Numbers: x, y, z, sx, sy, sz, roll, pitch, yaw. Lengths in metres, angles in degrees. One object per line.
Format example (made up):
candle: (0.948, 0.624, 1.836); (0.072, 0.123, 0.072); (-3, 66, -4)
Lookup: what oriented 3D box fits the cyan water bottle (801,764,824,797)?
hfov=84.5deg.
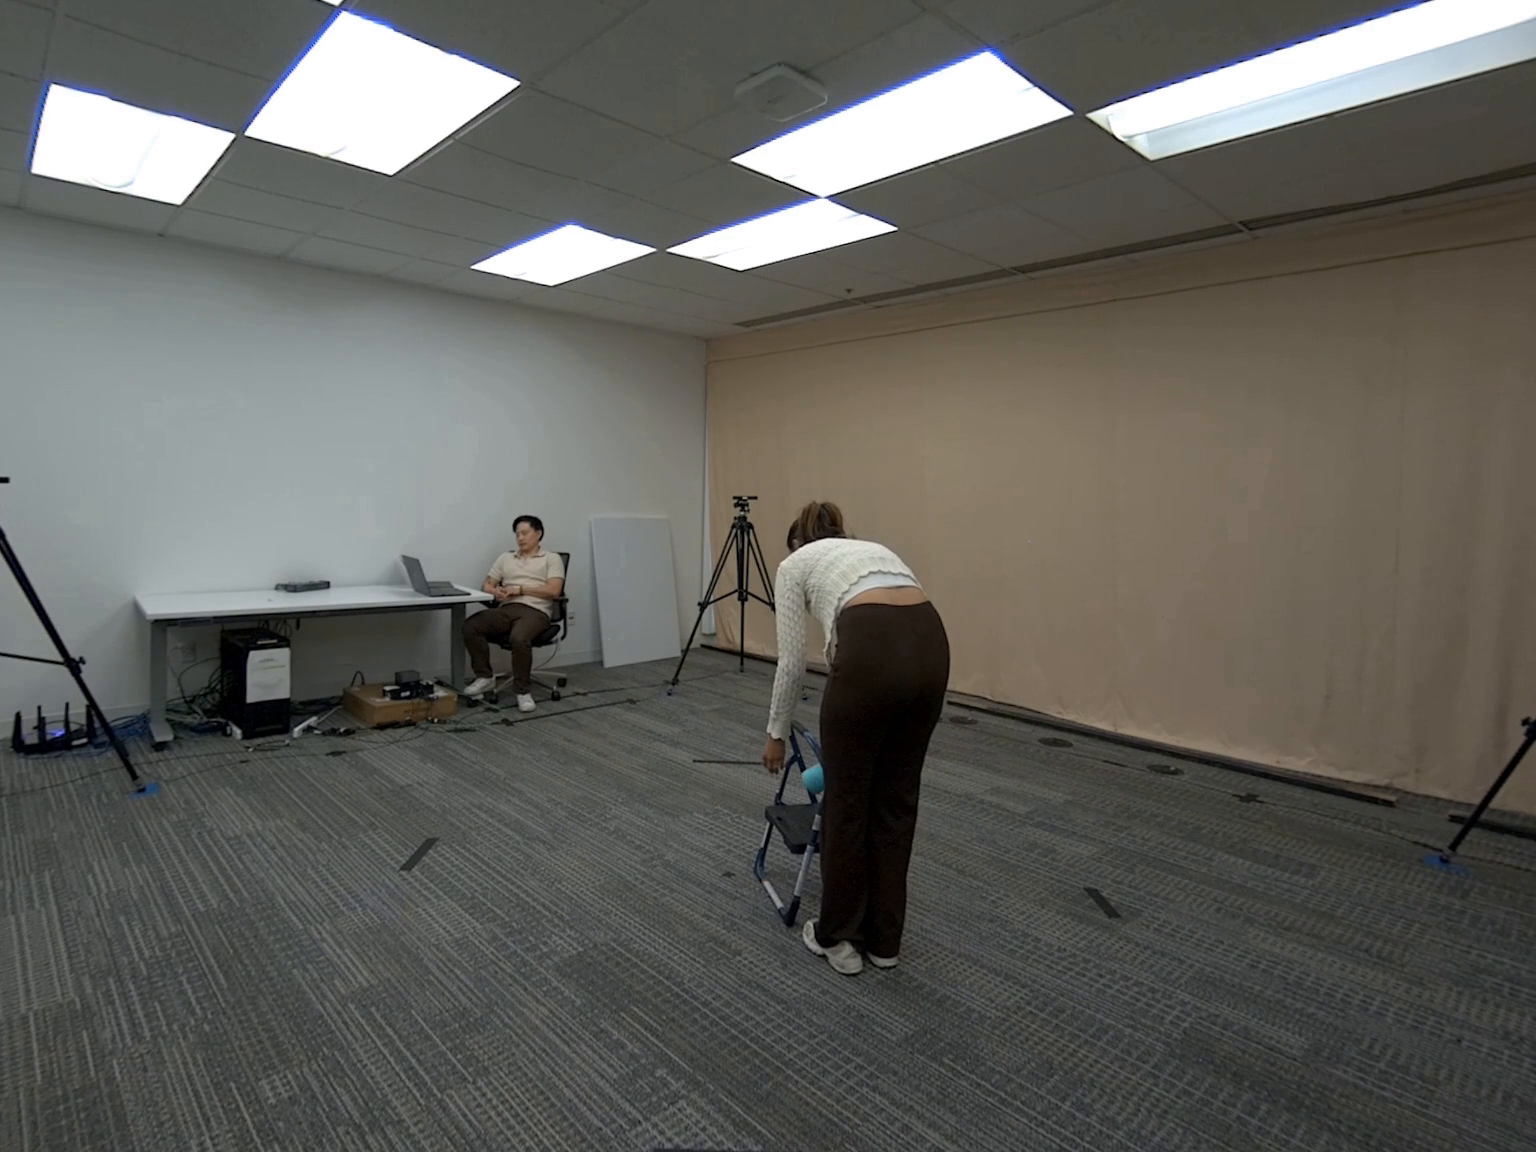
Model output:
cyan water bottle: (0.261, 0.669, 2.935); (0.284, 0.092, 0.092); (-33, -2, 10)
